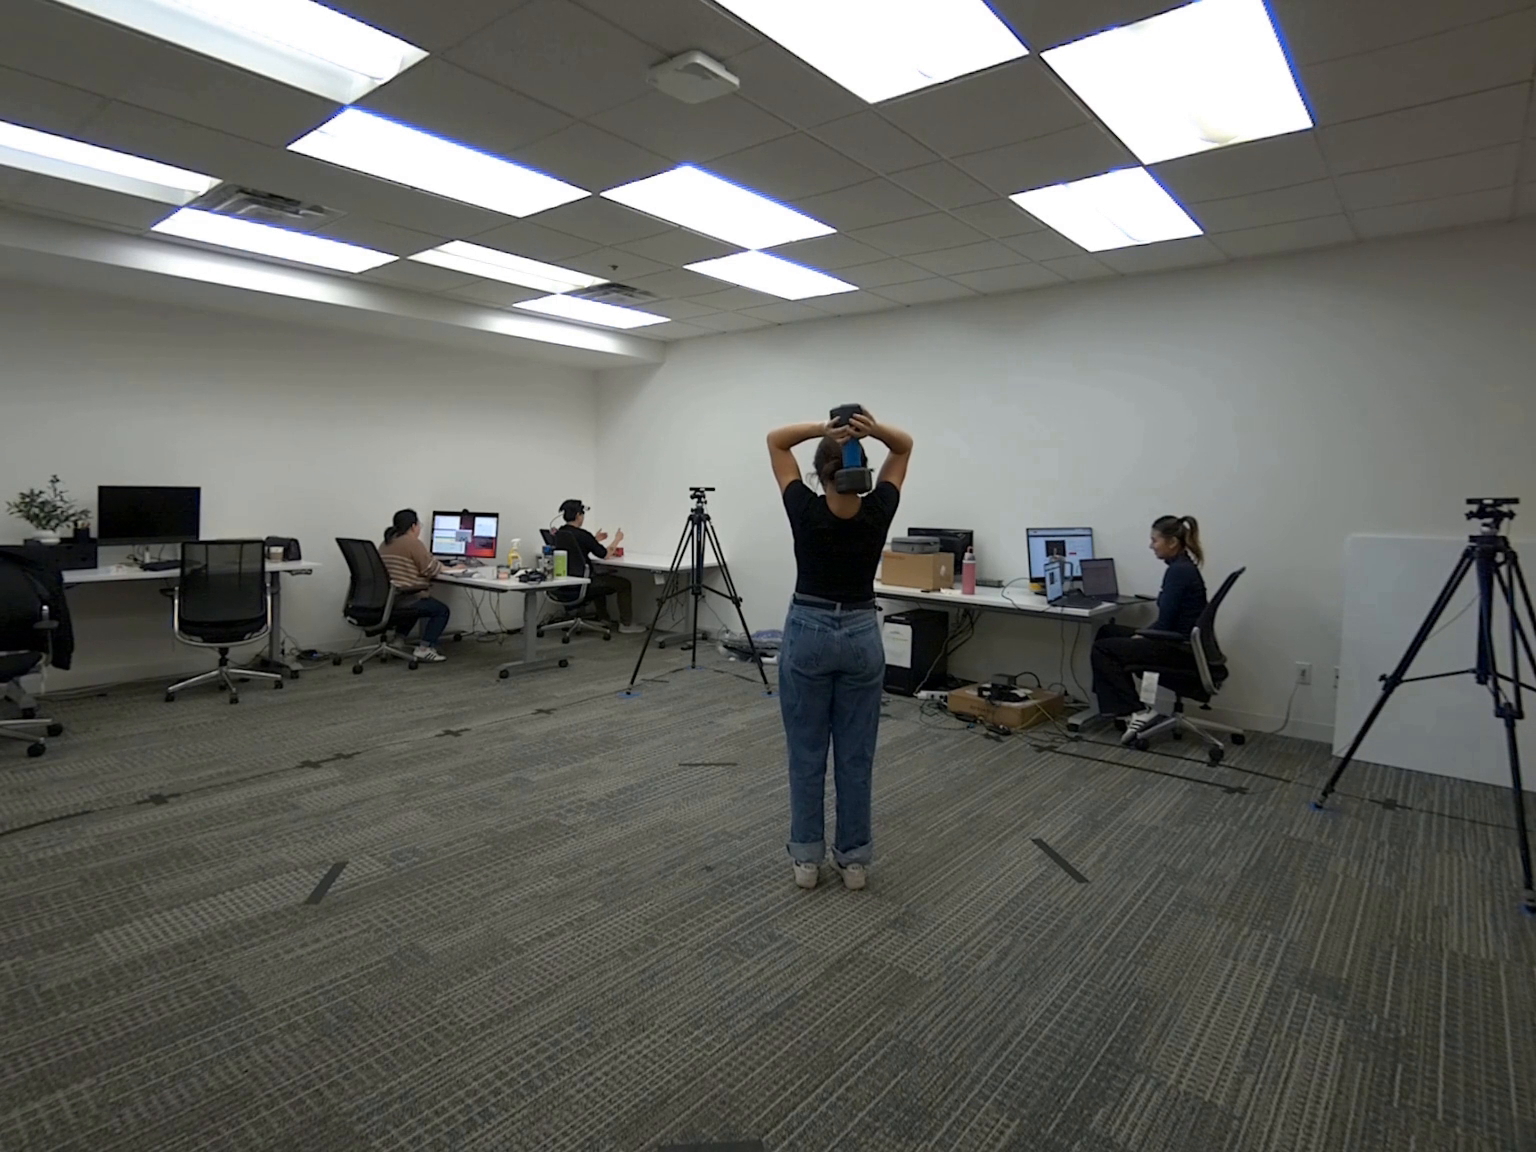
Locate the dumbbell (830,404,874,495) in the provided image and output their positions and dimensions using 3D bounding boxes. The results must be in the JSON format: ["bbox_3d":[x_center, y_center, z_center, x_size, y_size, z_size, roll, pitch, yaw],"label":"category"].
[{"bbox_3d":[0.271,-0.426,2.833,0.111,0.295,0.119,-7,-4,32],"label":"dumbbell"}]
